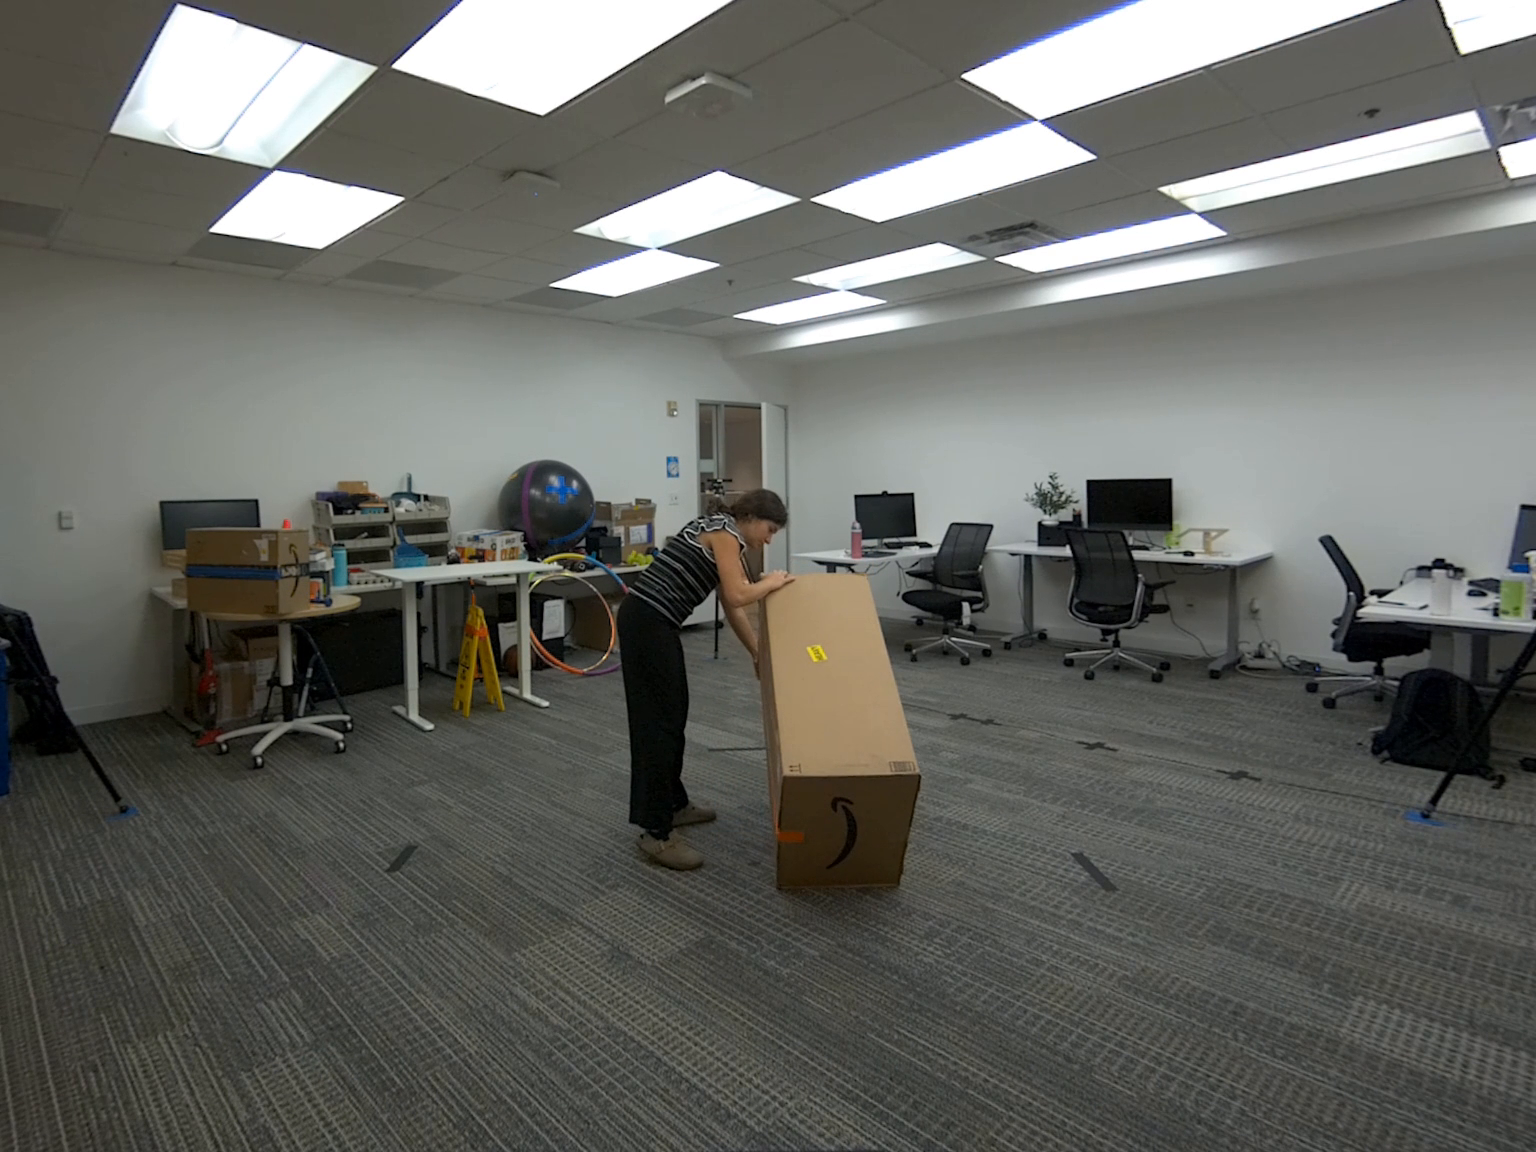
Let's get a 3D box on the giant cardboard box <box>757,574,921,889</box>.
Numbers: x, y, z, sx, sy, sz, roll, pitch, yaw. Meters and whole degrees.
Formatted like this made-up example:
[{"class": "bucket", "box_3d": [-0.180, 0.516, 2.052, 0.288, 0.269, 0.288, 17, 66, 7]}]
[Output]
[{"class": "giant cardboard box", "box_3d": [0.214, 0.529, 3.168, 0.425, 0.563, 1.054, -1, 36, -4]}]
